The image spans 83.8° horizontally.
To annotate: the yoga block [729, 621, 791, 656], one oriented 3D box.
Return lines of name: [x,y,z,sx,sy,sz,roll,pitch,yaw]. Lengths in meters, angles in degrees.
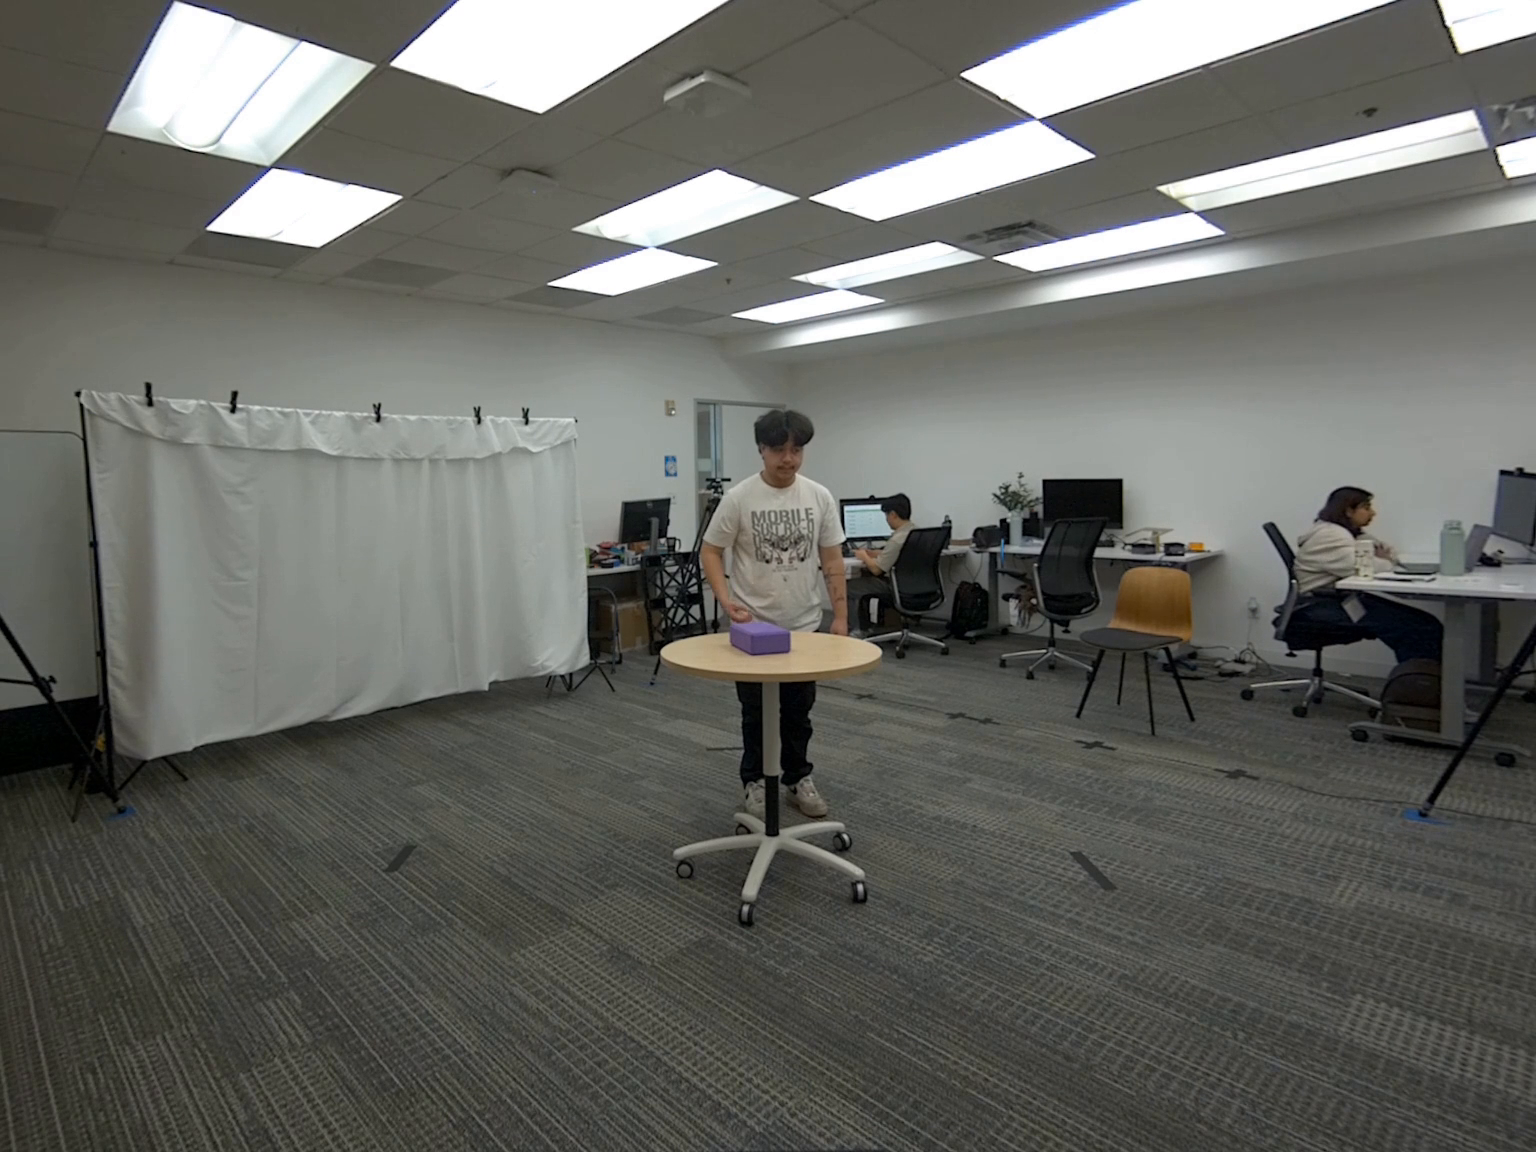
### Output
yoga block: [-0.029,0.220,2.995,0.146,0.076,0.234,-2,6,-20]
